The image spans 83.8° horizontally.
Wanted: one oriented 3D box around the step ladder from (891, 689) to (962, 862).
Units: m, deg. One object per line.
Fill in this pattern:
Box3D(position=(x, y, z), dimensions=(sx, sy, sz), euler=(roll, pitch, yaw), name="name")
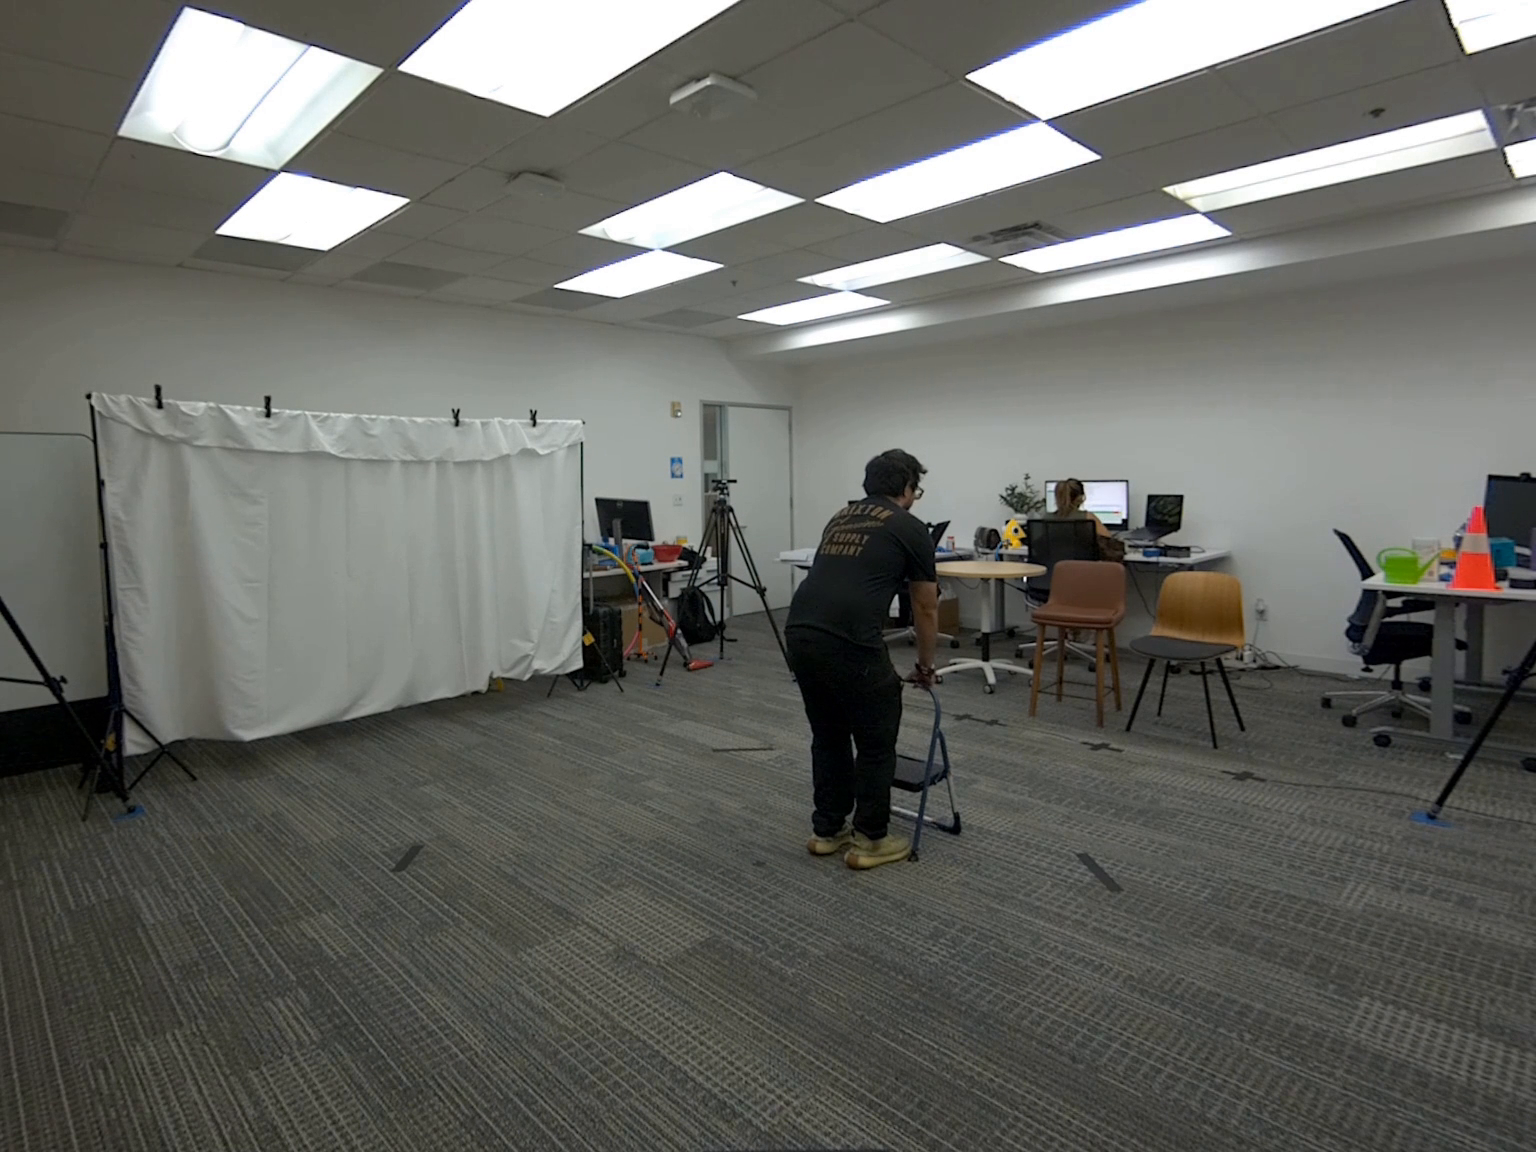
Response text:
Box3D(position=(0.492, 0.707, 3.351), dimensions=(0.444, 0.603, 0.340), euler=(4, 7, 44), name="step ladder")
